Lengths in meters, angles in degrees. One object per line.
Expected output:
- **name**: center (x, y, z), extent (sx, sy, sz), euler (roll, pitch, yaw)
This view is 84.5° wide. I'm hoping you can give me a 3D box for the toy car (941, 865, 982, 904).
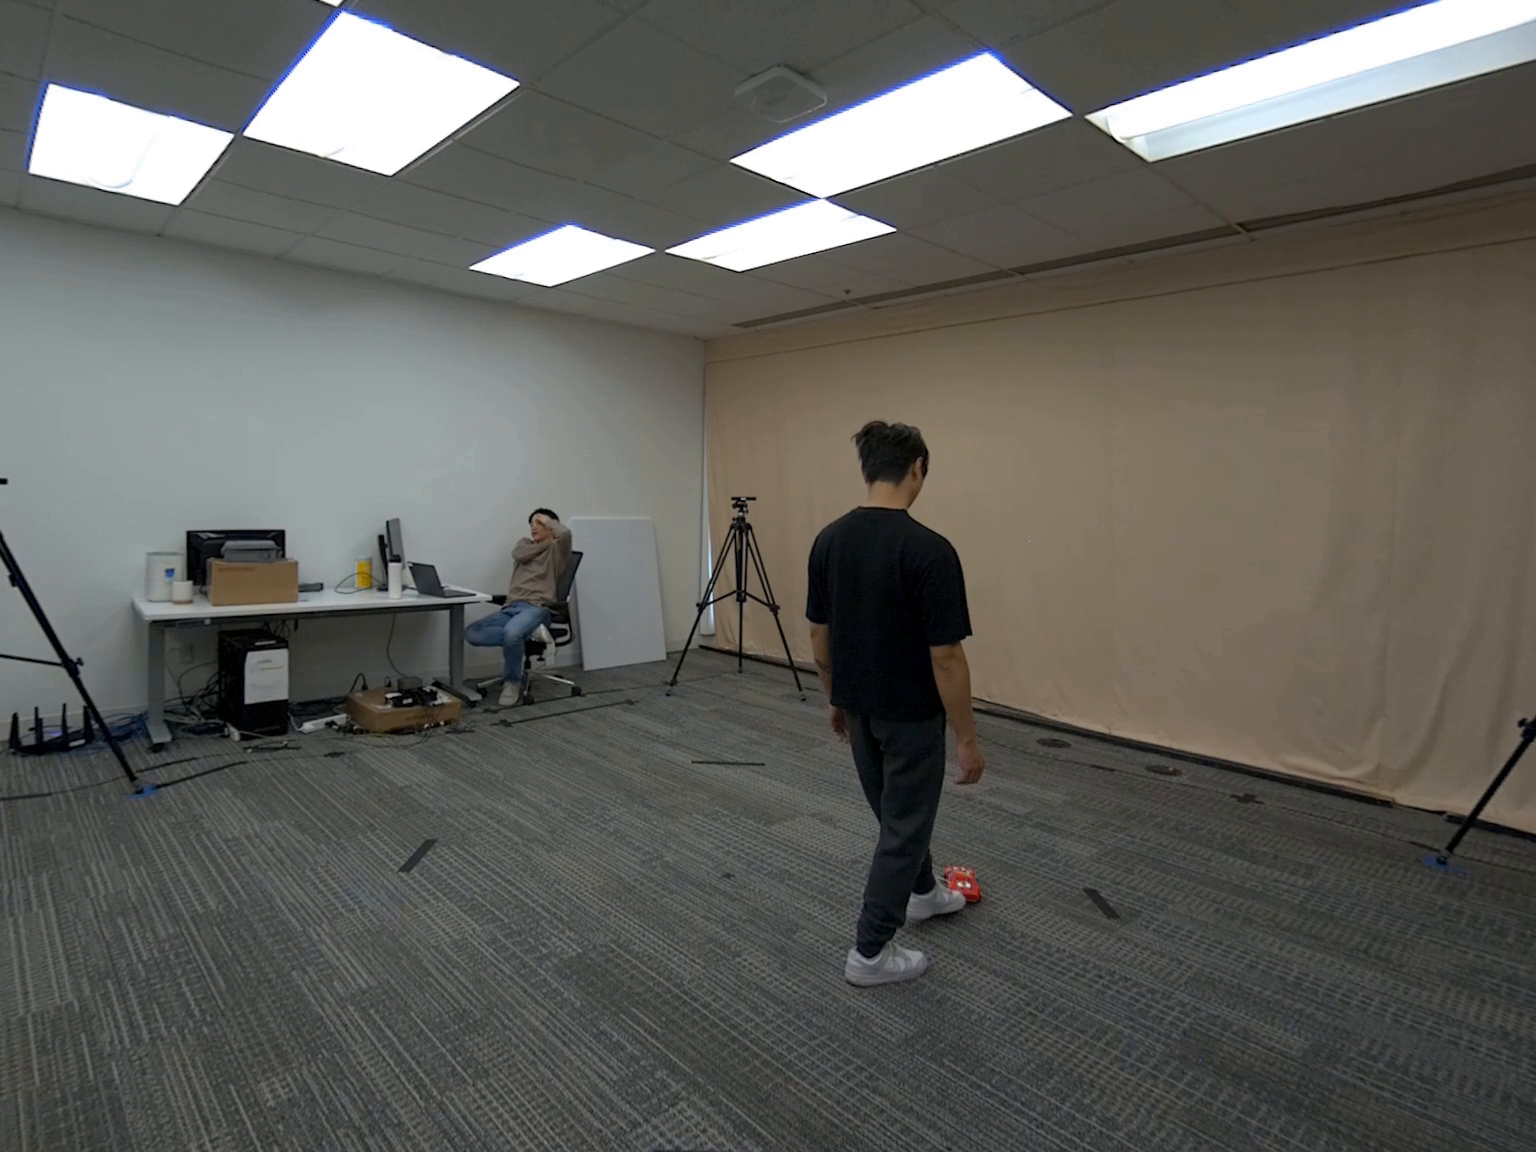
- **toy car**: center (0.687, 1.104, 3.004), extent (0.131, 0.083, 0.251), euler (2, -6, 7)
